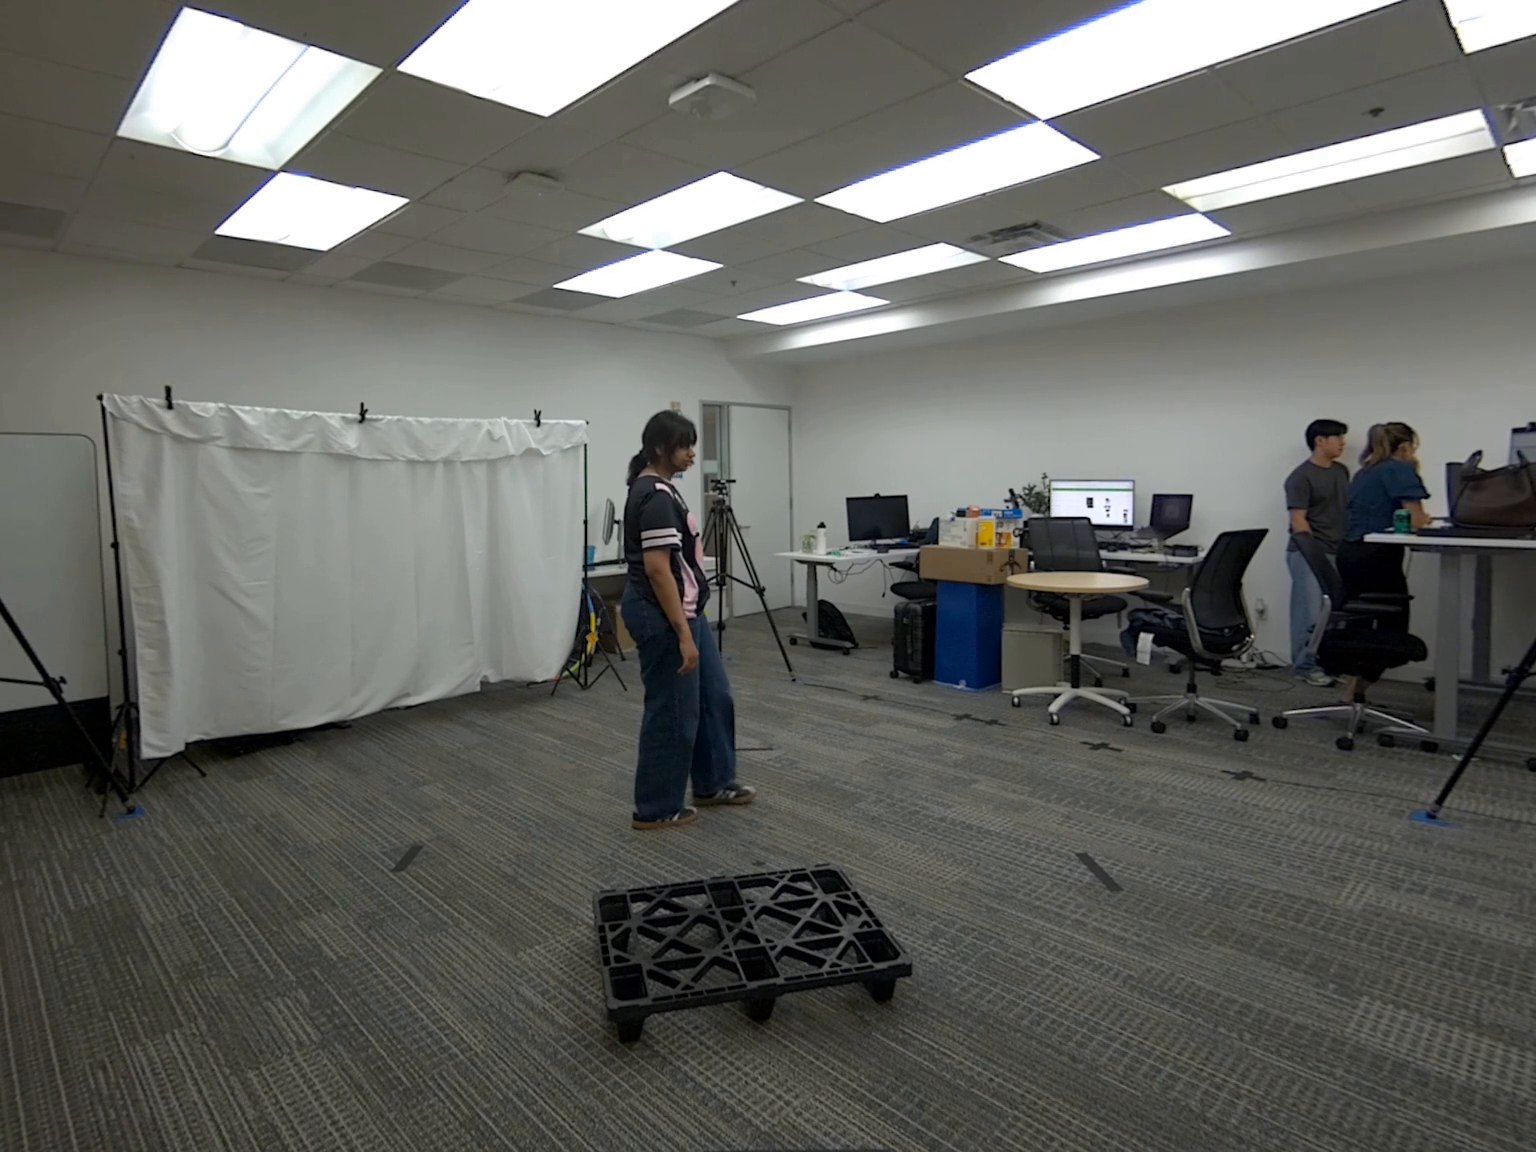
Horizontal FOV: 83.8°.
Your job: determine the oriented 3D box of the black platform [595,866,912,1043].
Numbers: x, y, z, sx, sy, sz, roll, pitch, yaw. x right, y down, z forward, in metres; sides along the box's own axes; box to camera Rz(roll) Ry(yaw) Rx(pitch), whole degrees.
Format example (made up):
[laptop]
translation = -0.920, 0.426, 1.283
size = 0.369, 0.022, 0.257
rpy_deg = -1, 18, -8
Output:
[black platform]
translation = -0.080, 1.059, 2.439
size = 0.796, 0.143, 0.615
rpy_deg = -3, 6, -13
